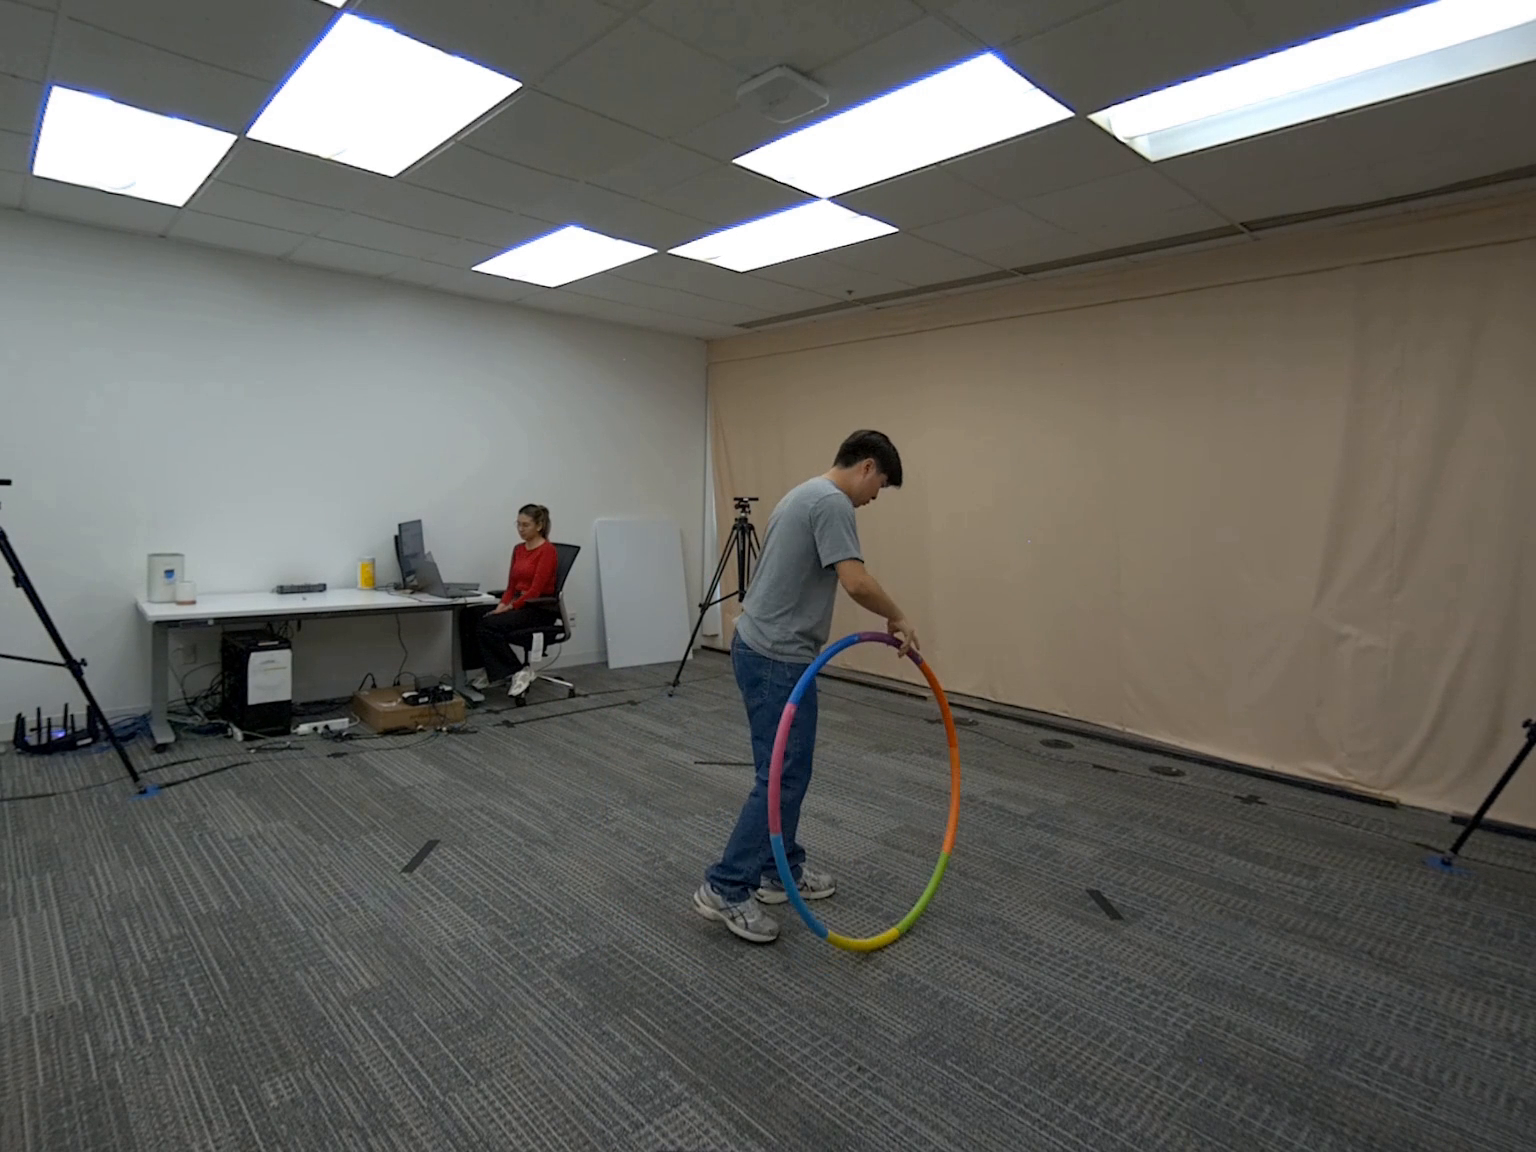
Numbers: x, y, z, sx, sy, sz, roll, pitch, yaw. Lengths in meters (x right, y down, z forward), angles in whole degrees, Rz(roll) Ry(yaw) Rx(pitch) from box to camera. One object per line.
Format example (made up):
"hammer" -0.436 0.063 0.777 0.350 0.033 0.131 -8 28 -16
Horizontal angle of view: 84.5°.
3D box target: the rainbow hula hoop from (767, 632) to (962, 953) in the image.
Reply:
"rainbow hula hoop" 0.329 0.668 2.697 0.036 0.981 0.956 -9 -4 43
